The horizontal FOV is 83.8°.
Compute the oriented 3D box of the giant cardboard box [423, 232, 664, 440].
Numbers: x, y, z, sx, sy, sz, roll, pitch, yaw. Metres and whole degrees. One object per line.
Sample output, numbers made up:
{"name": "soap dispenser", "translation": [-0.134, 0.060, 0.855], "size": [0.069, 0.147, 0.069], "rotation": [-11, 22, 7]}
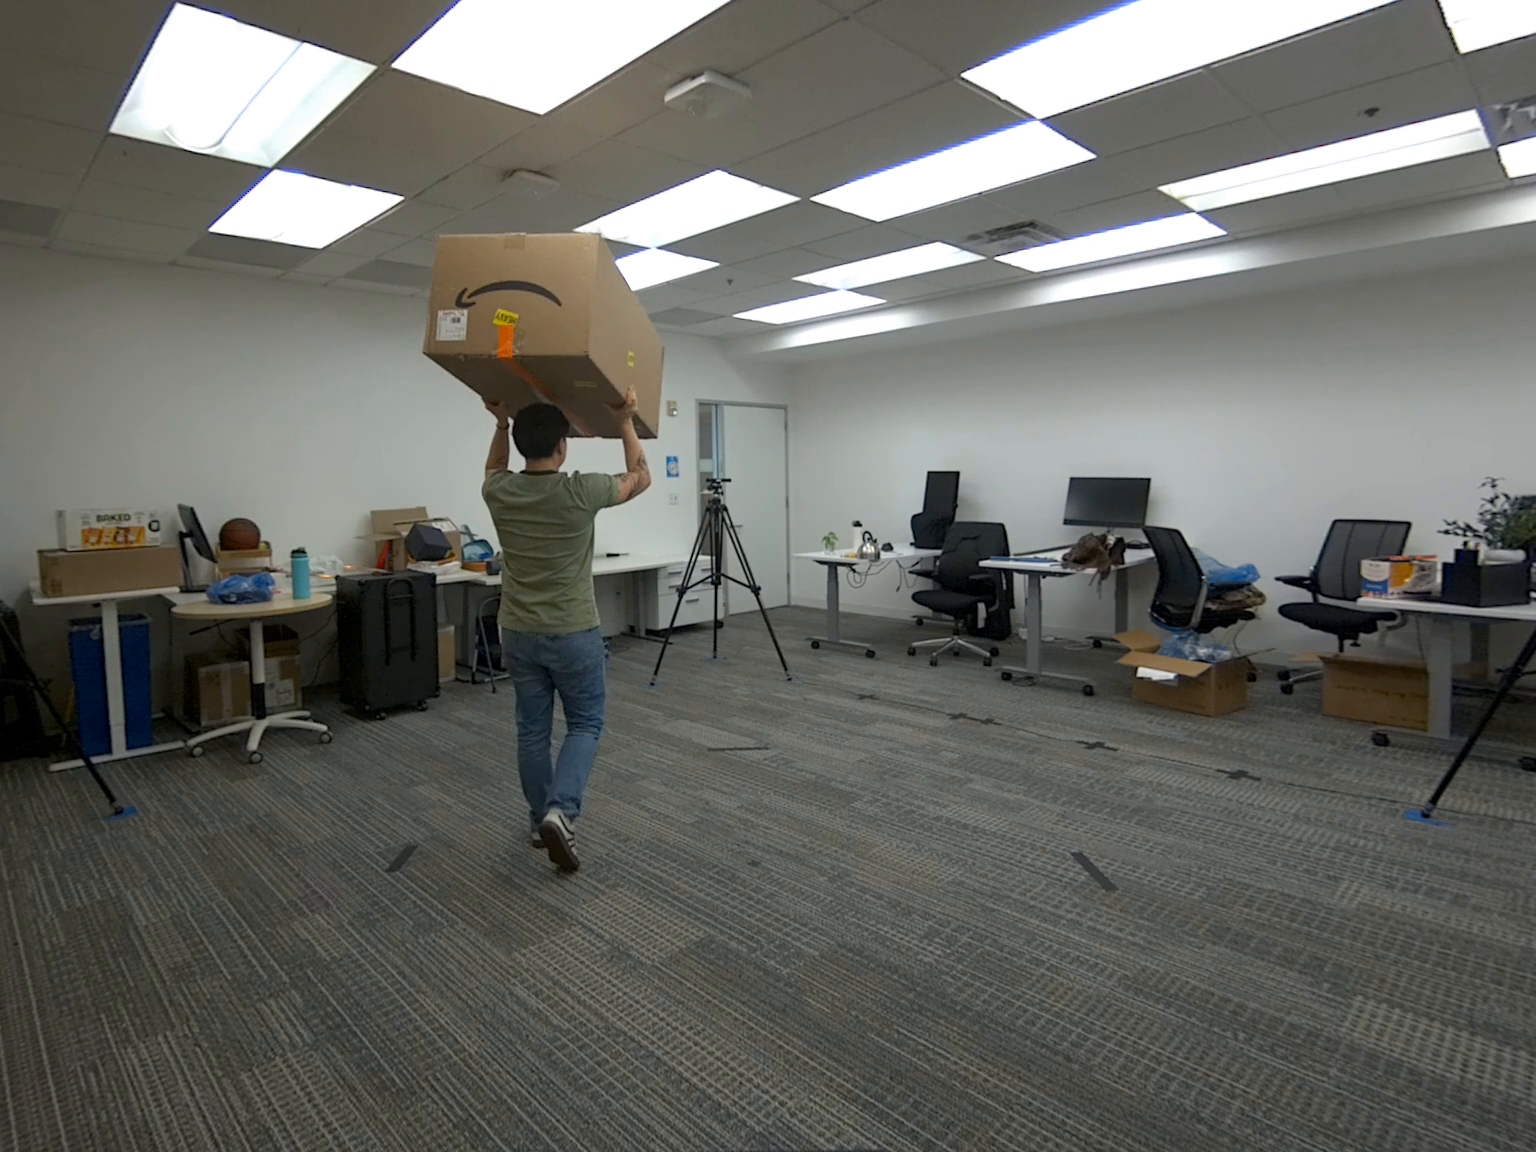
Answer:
{"name": "giant cardboard box", "translation": [-0.793, -0.860, 3.287], "size": [0.582, 0.429, 1.011], "rotation": [3, -6, 7]}
